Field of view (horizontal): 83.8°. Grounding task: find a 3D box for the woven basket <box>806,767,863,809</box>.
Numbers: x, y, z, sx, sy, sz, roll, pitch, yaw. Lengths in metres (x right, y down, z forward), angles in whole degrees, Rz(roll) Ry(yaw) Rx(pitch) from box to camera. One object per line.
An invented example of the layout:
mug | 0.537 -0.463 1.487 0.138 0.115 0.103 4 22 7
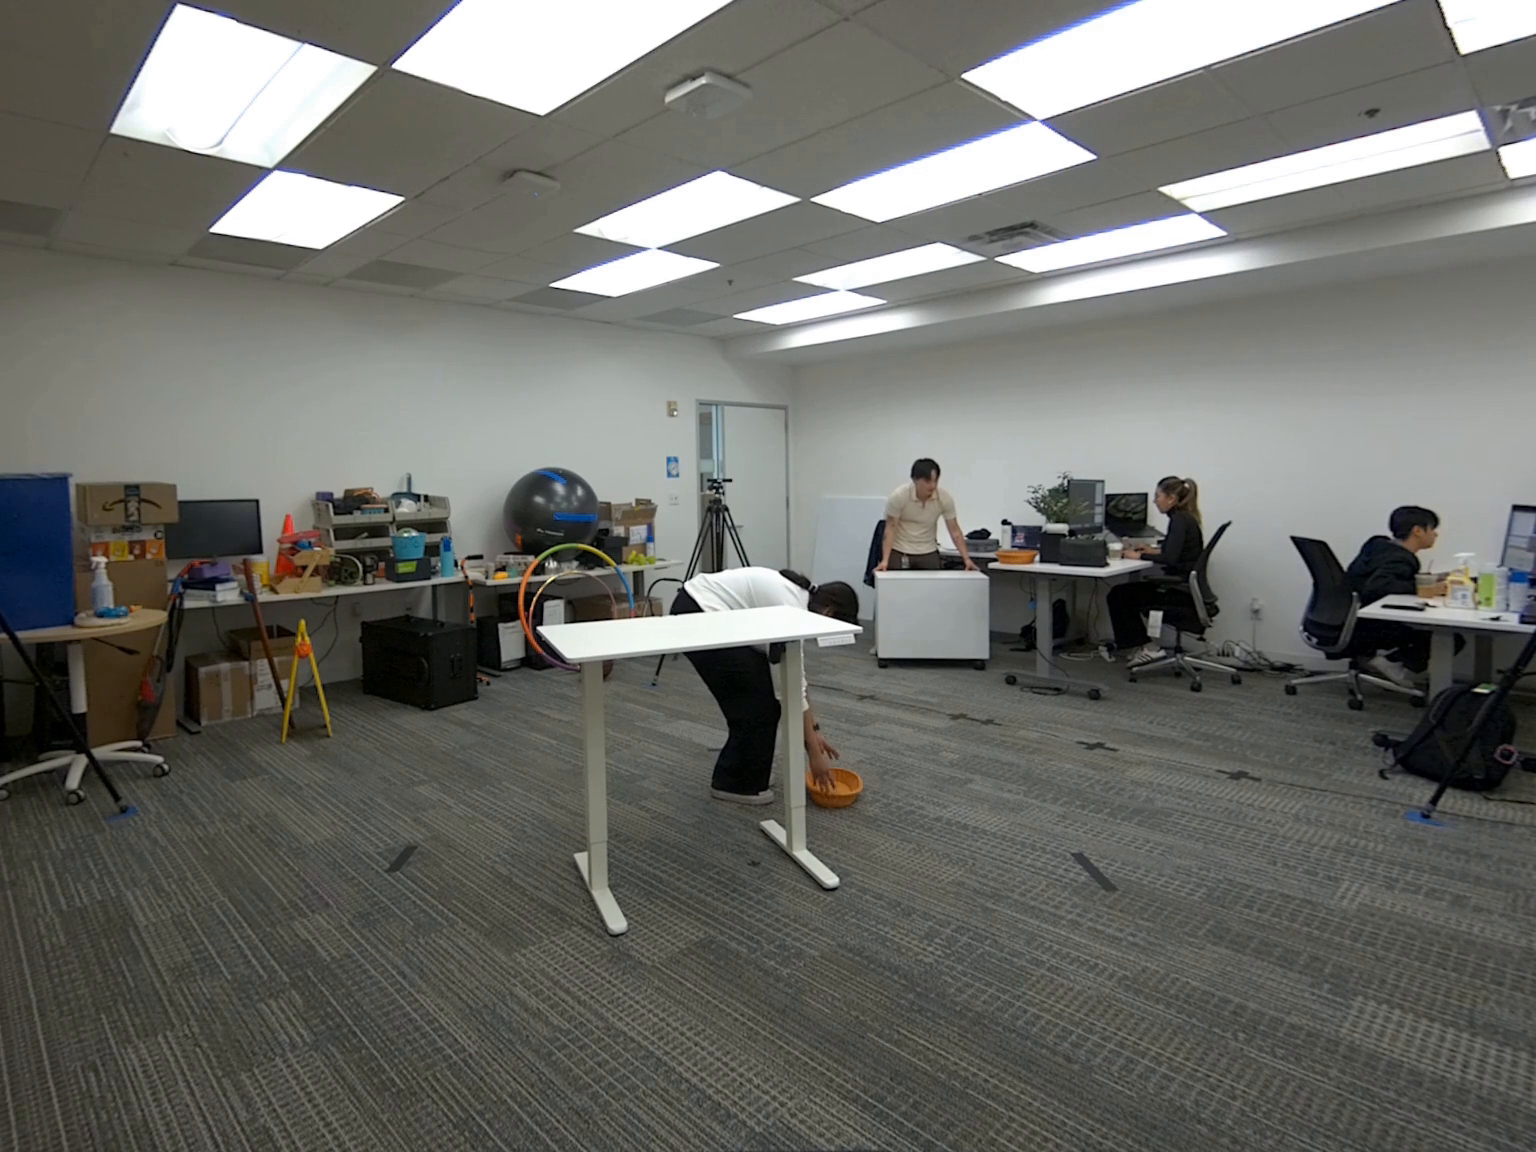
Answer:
woven basket | 0.283 0.920 3.752 0.253 0.073 0.350 1 6 3
